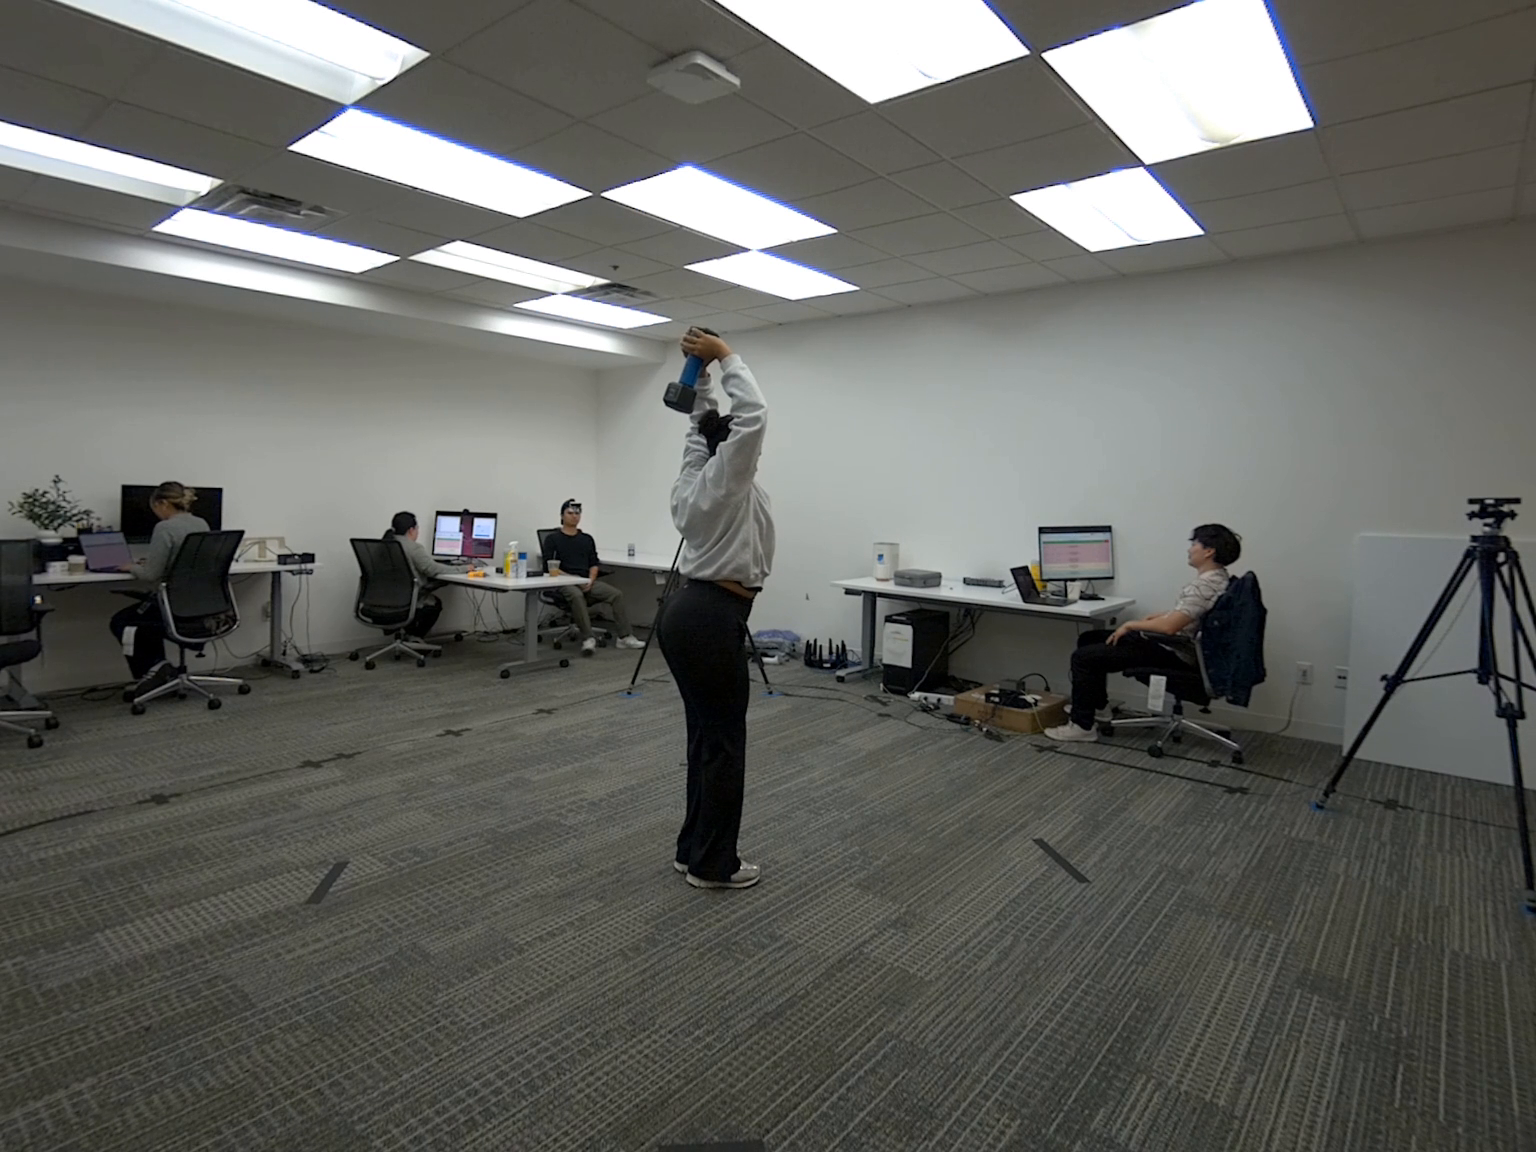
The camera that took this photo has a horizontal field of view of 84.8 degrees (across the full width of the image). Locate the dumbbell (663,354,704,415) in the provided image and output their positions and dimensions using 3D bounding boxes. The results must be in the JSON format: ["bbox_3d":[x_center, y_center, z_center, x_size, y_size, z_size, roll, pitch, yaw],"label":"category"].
[{"bbox_3d":[-0.280,-0.717,2.966,0.127,0.294,0.105,20,-5,30],"label":"dumbbell"}]
